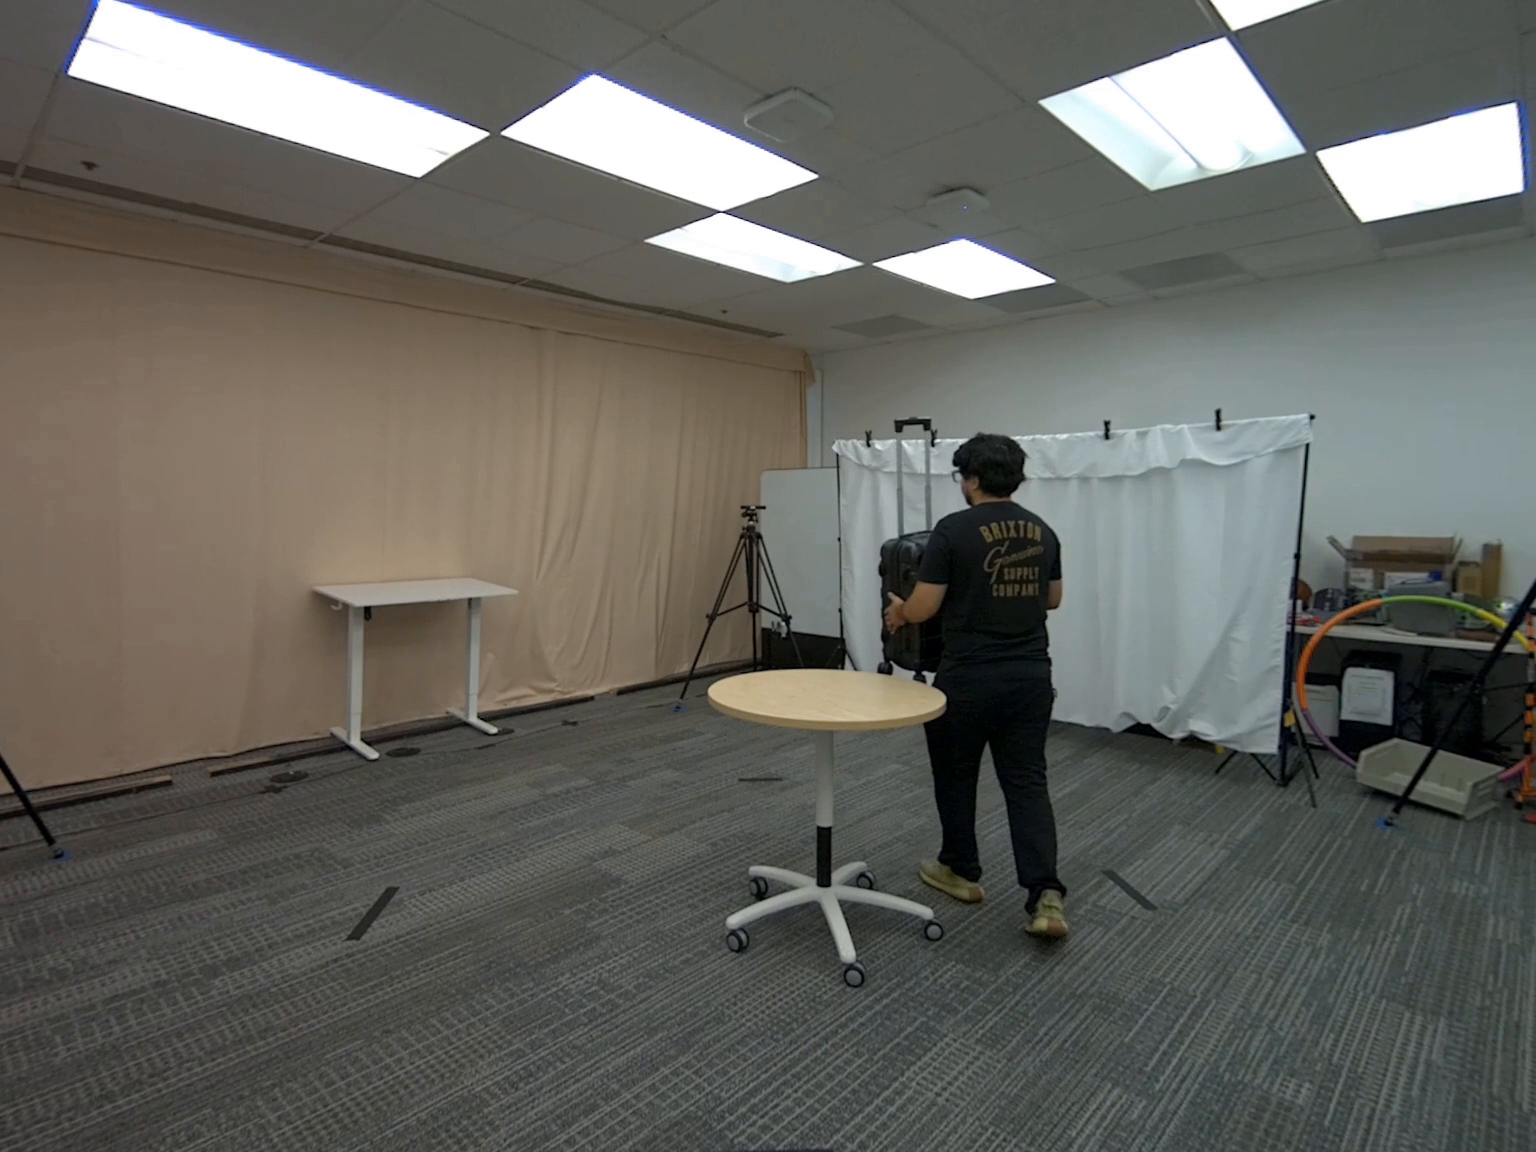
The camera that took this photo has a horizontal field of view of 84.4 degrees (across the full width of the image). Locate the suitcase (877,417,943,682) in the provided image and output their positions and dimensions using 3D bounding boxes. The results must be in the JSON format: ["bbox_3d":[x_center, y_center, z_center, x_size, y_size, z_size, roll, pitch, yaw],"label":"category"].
[{"bbox_3d":[0.631,-0.100,3.168,0.377,0.974,0.263,-6,7,-21],"label":"suitcase"}]
